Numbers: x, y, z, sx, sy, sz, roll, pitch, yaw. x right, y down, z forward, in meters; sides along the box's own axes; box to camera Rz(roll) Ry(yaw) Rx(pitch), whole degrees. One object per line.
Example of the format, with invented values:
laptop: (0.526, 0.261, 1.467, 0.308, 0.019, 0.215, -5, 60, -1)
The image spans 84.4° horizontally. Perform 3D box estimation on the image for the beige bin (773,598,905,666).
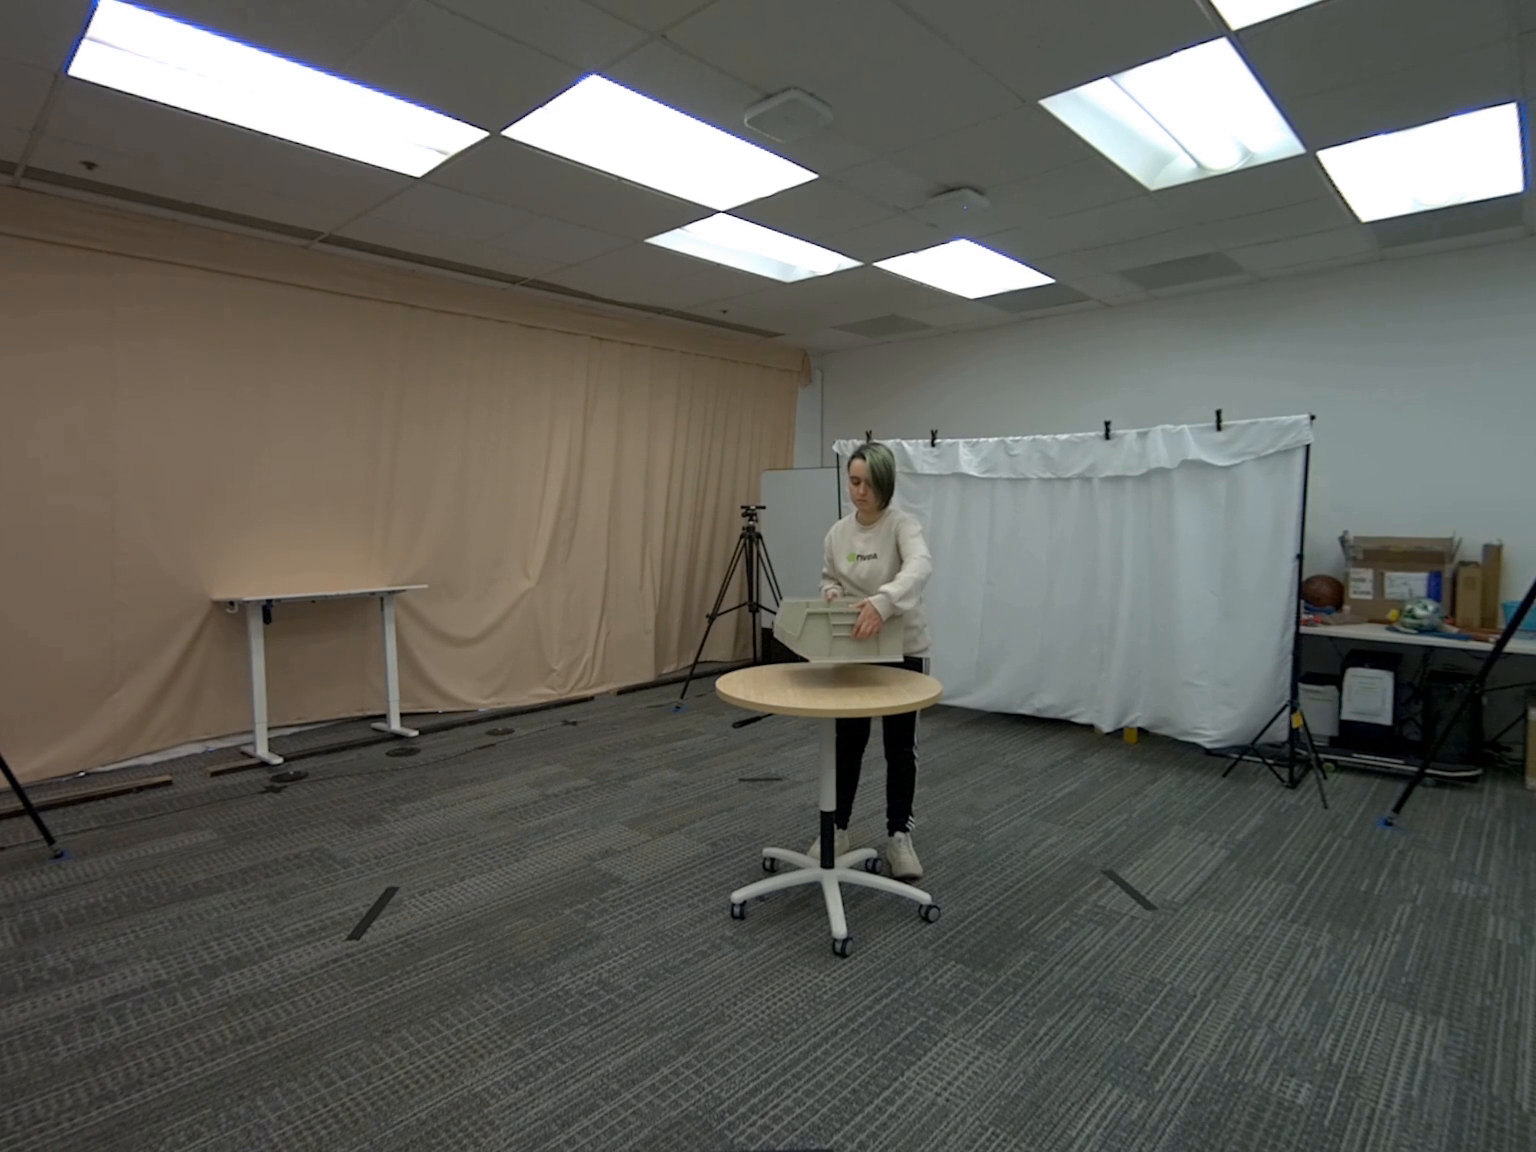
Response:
beige bin: (0.238, 0.192, 2.958, 0.375, 0.189, 0.425, -1, 3, -7)
